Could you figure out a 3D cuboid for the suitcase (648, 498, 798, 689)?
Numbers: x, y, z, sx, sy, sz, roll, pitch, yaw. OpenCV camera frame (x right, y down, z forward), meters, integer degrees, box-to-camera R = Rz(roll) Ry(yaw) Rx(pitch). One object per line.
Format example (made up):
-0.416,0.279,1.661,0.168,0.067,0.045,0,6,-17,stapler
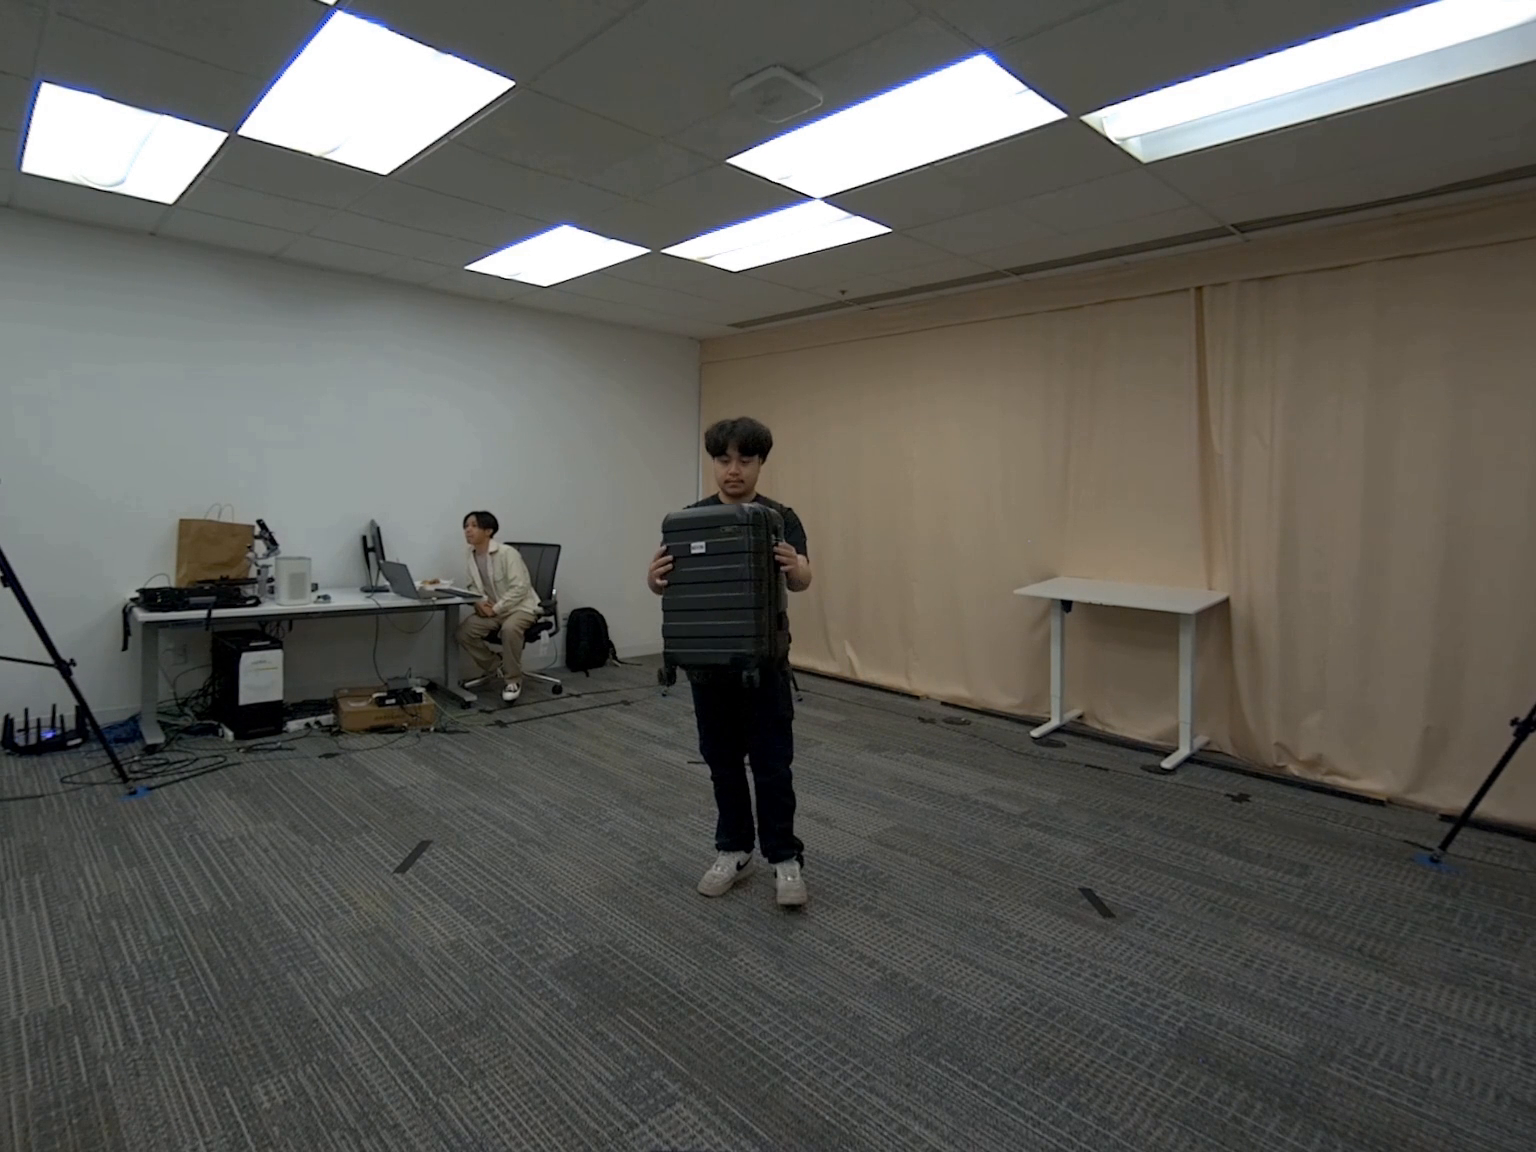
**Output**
-0.141,0.053,2.571,0.383,0.551,0.242,-3,-5,34,suitcase
